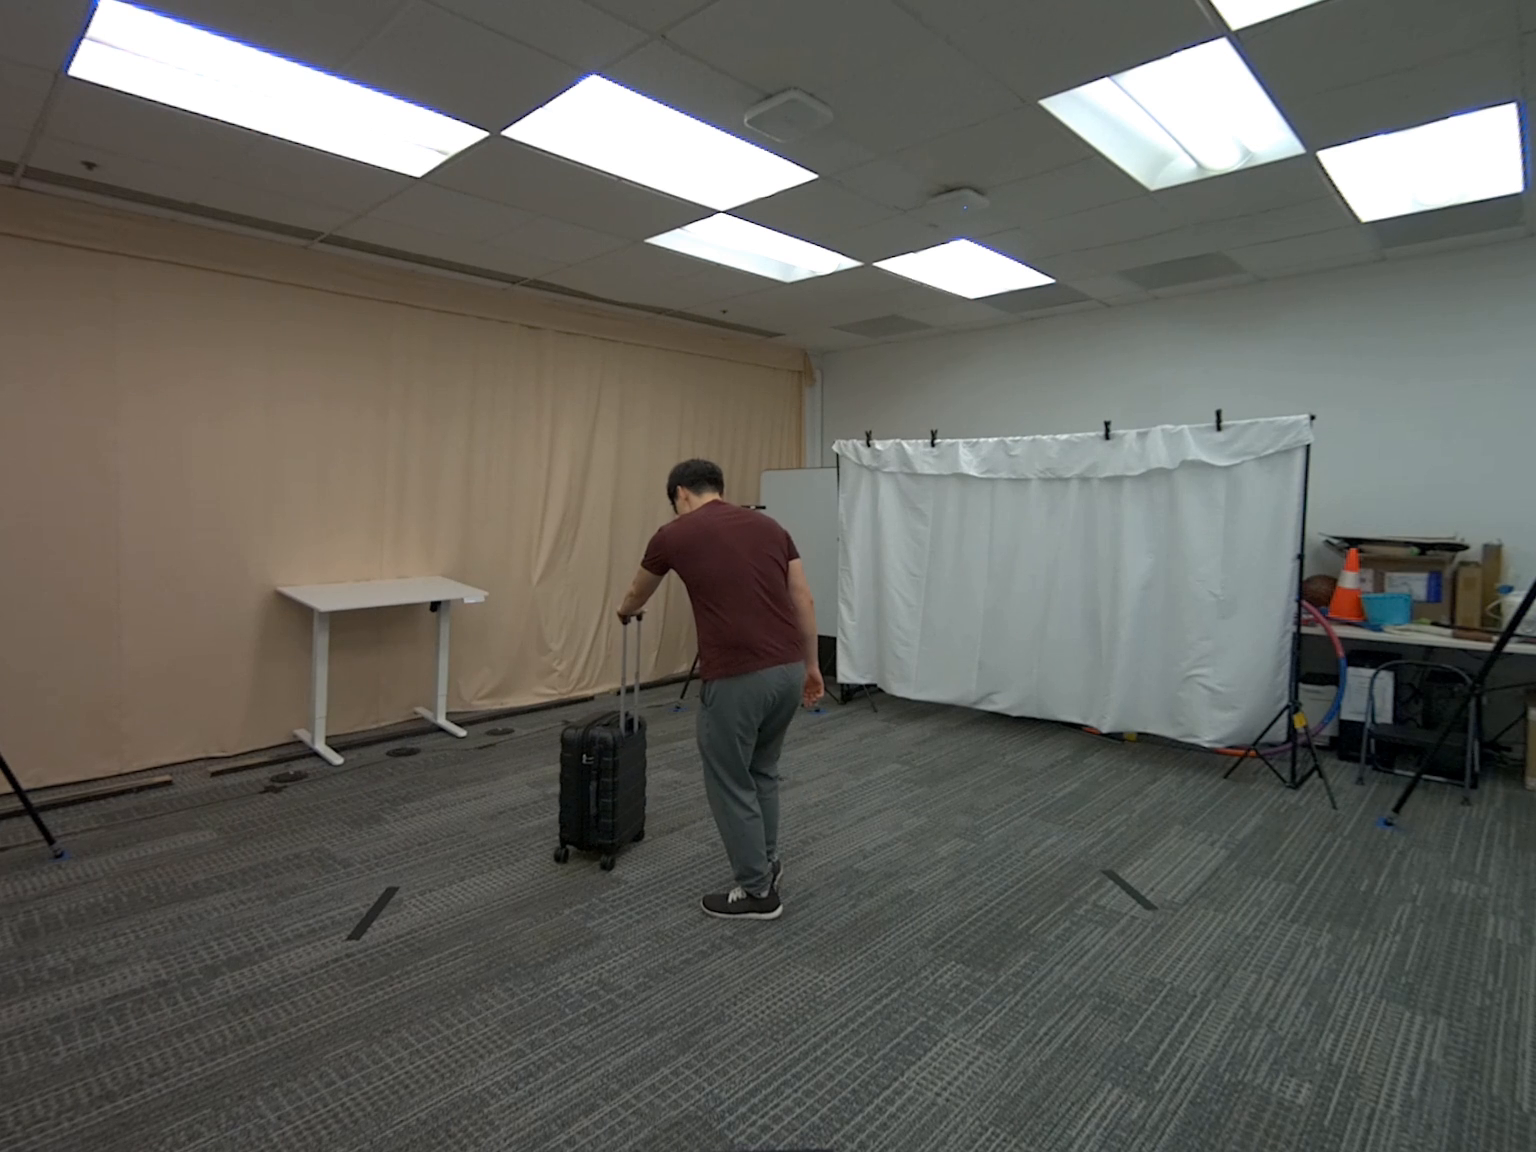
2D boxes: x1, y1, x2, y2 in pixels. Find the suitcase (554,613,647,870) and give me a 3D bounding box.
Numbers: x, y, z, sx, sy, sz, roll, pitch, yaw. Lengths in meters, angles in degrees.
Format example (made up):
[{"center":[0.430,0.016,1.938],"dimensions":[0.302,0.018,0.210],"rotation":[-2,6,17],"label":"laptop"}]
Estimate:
[{"center":[-0.663,0.633,3.408],"dimensions":[0.262,0.978,0.377],"rotation":[1,1,16],"label":"suitcase"}]
